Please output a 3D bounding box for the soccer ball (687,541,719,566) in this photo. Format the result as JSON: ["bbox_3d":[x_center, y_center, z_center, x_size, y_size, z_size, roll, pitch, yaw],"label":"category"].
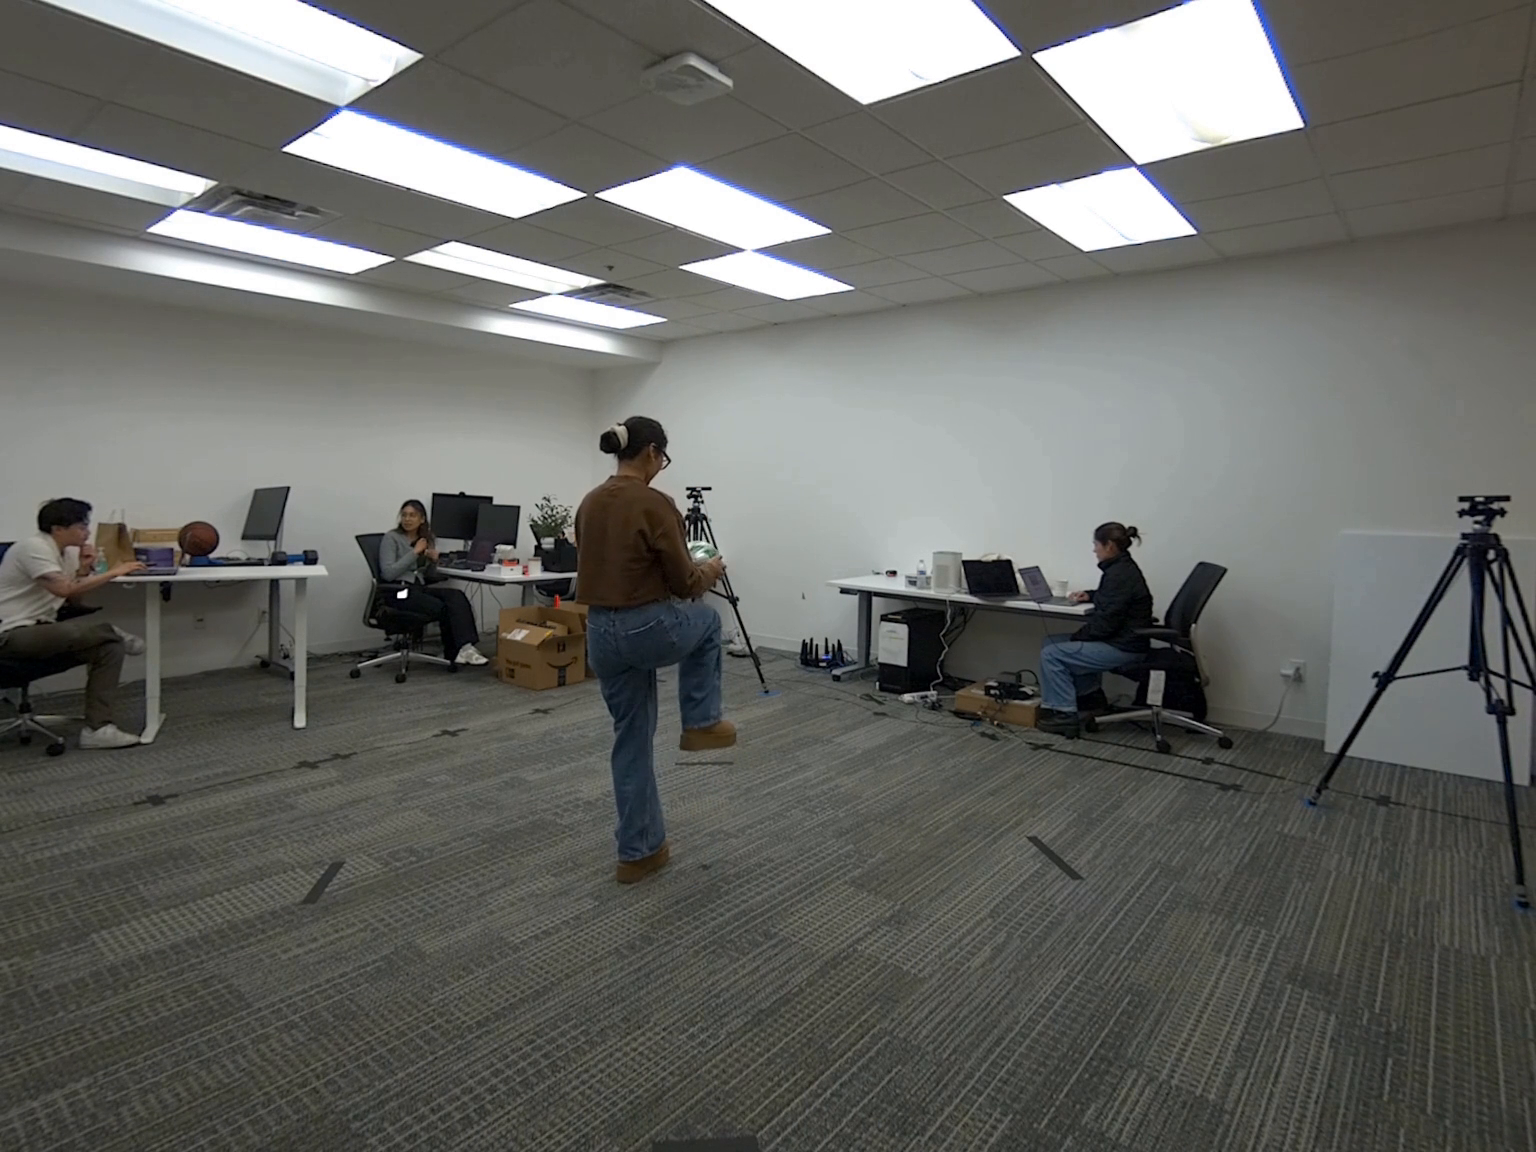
[{"bbox_3d":[-0.284,-0.067,3.278,0.187,0.187,0.188,1,4,-2],"label":"soccer ball"}]
